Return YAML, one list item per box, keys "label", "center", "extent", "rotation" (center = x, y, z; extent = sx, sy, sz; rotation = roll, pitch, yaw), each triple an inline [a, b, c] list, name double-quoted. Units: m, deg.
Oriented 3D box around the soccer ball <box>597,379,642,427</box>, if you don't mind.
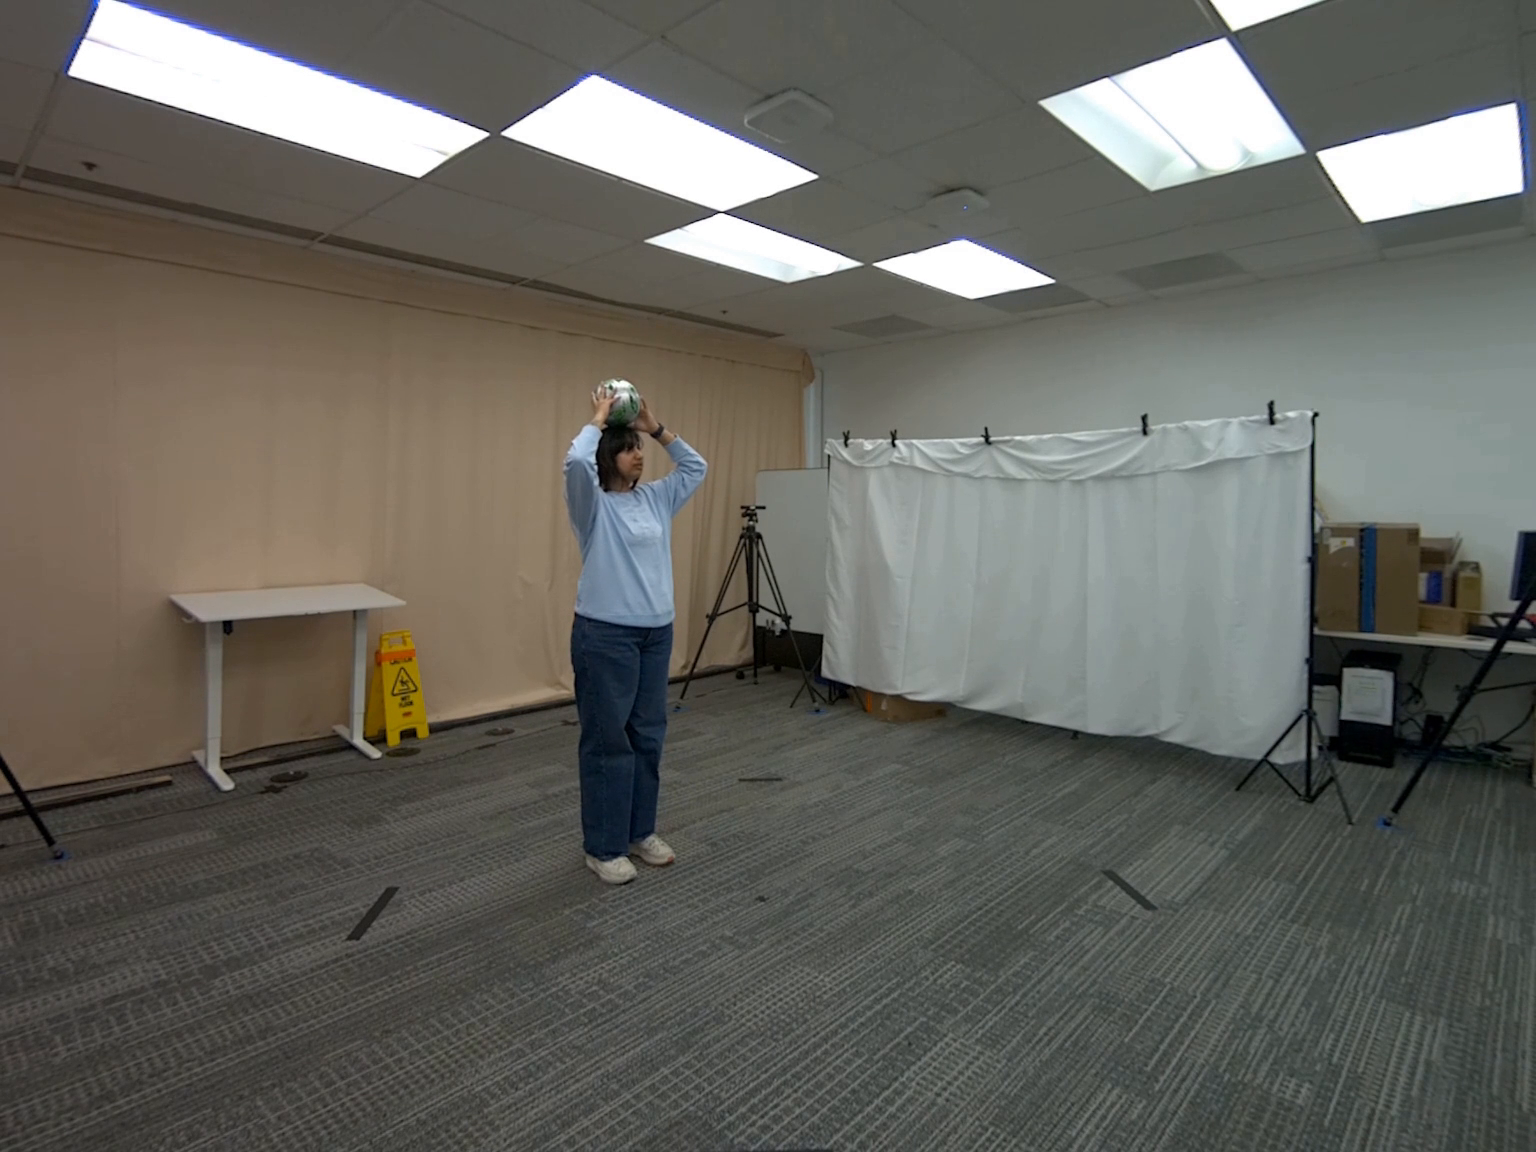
- label: "soccer ball"
  center: [-0.580, -0.663, 3.231]
  extent: [0.187, 0.187, 0.188]
  rotation: [0, 4, -2]
